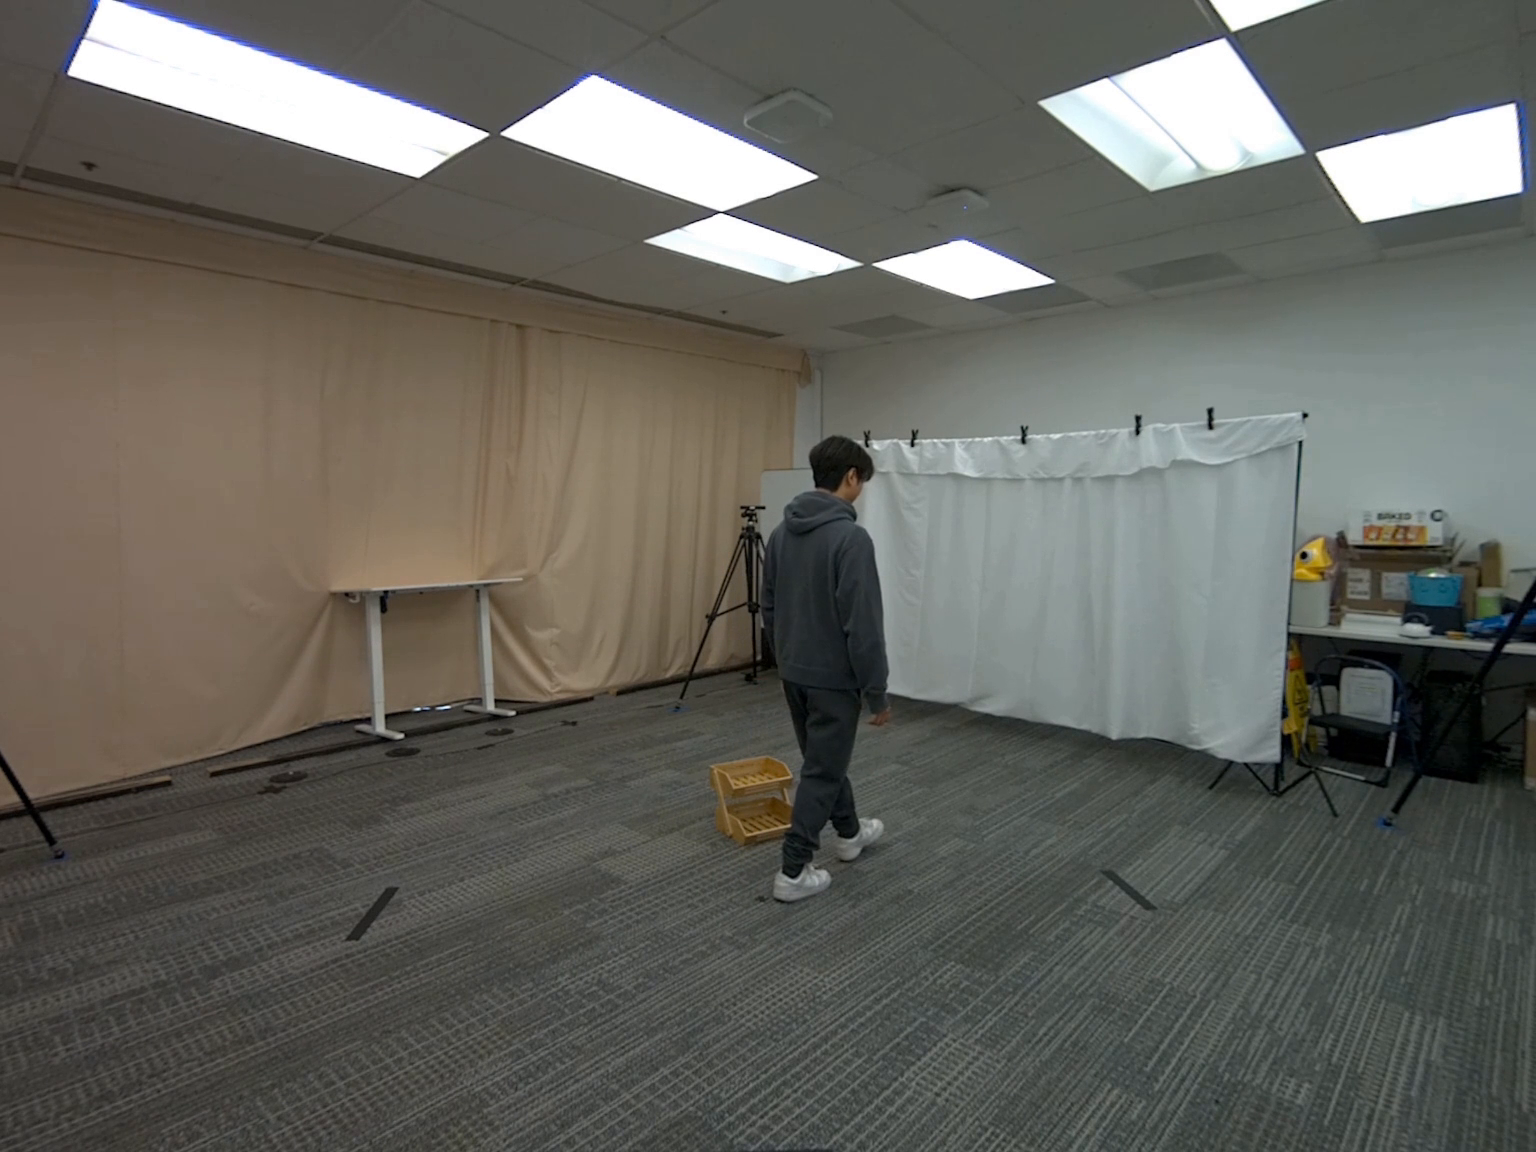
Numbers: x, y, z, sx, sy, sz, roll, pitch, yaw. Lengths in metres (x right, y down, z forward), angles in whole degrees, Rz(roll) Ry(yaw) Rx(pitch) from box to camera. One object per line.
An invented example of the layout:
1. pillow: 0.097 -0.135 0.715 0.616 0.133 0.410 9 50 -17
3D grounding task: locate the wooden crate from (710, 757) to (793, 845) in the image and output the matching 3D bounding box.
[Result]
1. wooden crate: -0.045 0.957 3.633 0.315 0.273 0.311 -2 4 -32
